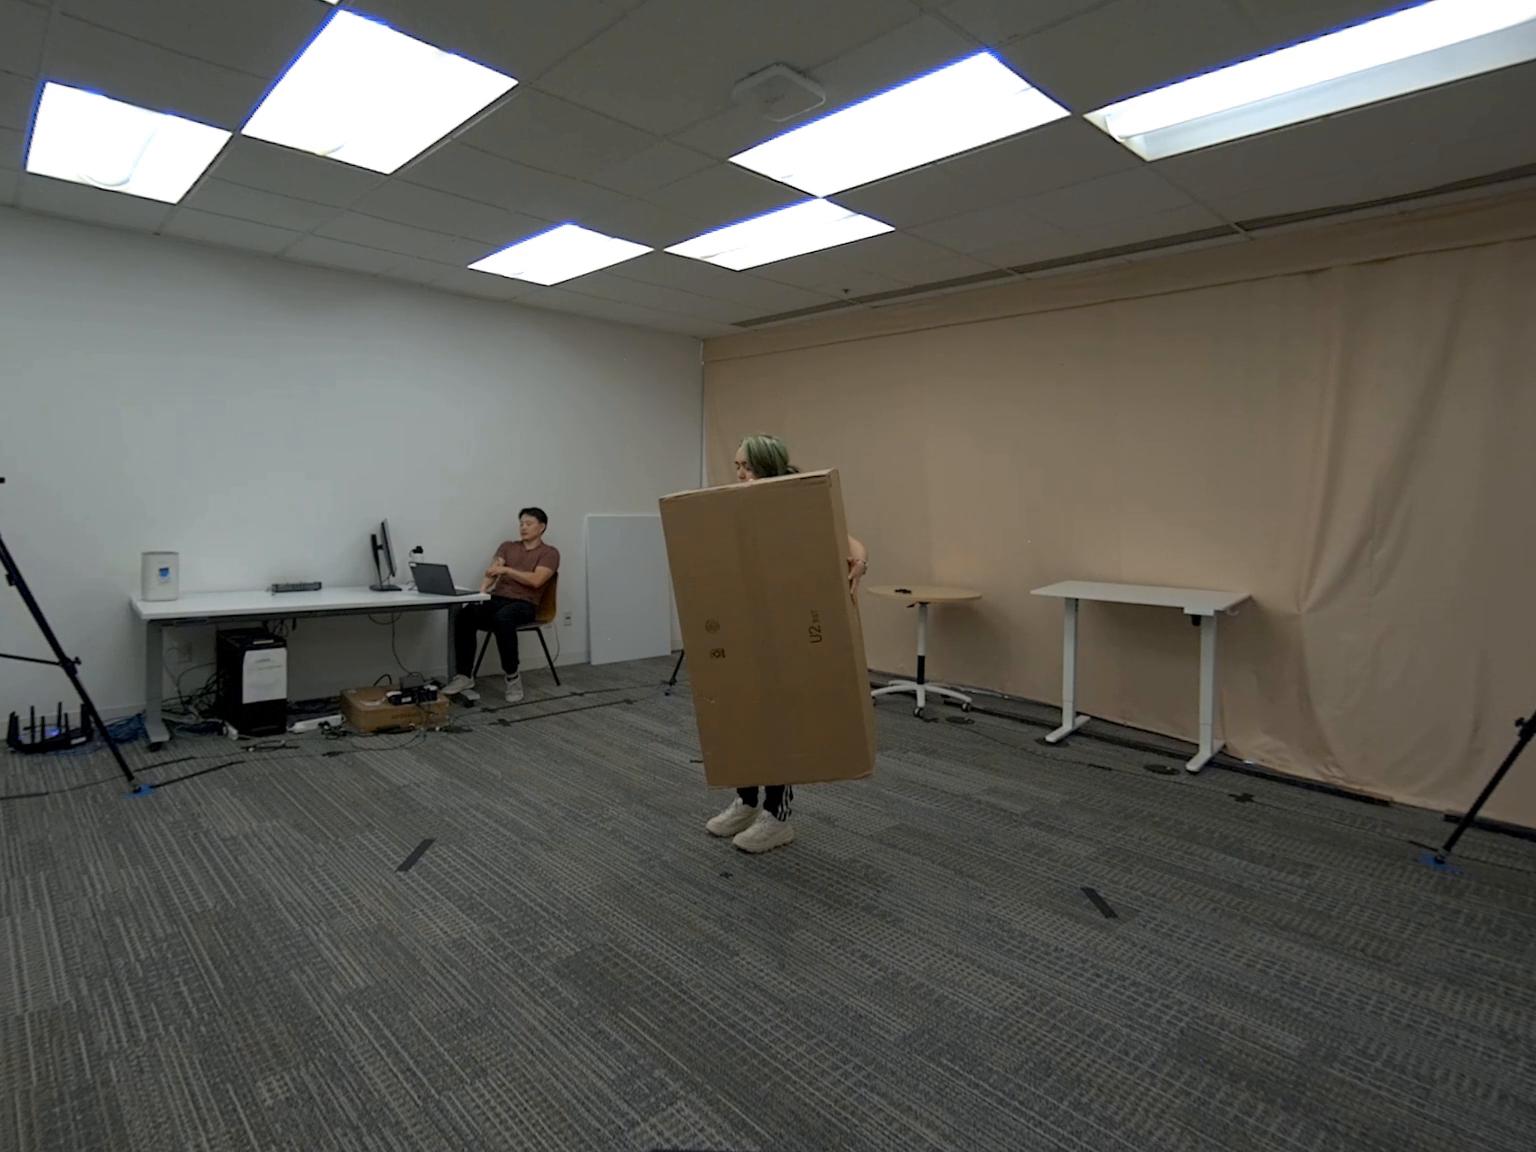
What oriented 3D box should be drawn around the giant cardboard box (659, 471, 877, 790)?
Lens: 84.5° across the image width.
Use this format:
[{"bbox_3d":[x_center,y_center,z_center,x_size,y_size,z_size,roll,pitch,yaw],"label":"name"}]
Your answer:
[{"bbox_3d":[0.010,0.175,2.993,0.583,1.021,0.424,-7,6,13],"label":"giant cardboard box"}]
